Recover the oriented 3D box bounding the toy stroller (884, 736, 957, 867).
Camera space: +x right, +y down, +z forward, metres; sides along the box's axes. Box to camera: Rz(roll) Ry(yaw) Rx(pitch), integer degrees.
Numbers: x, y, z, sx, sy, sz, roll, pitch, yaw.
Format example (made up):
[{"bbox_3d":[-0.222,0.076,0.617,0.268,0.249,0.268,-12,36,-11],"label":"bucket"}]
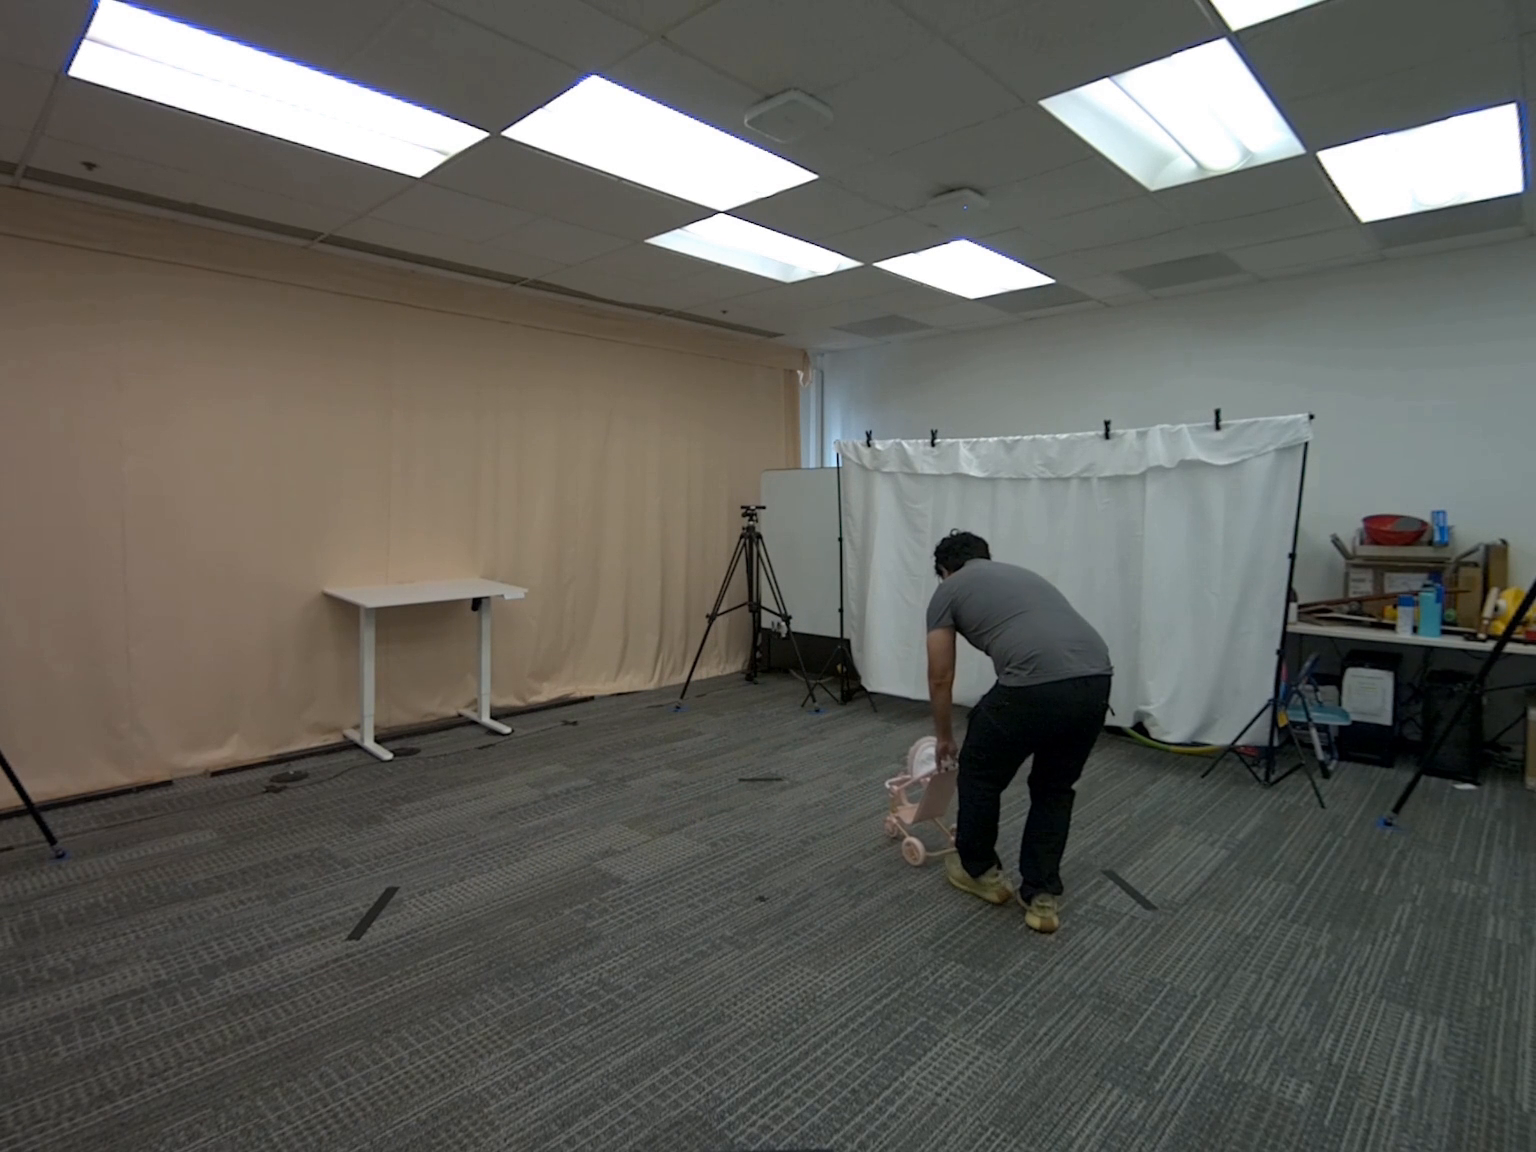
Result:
[{"bbox_3d":[0.627,0.878,3.372,0.274,0.531,0.353,-2,18,-30],"label":"toy stroller"}]
